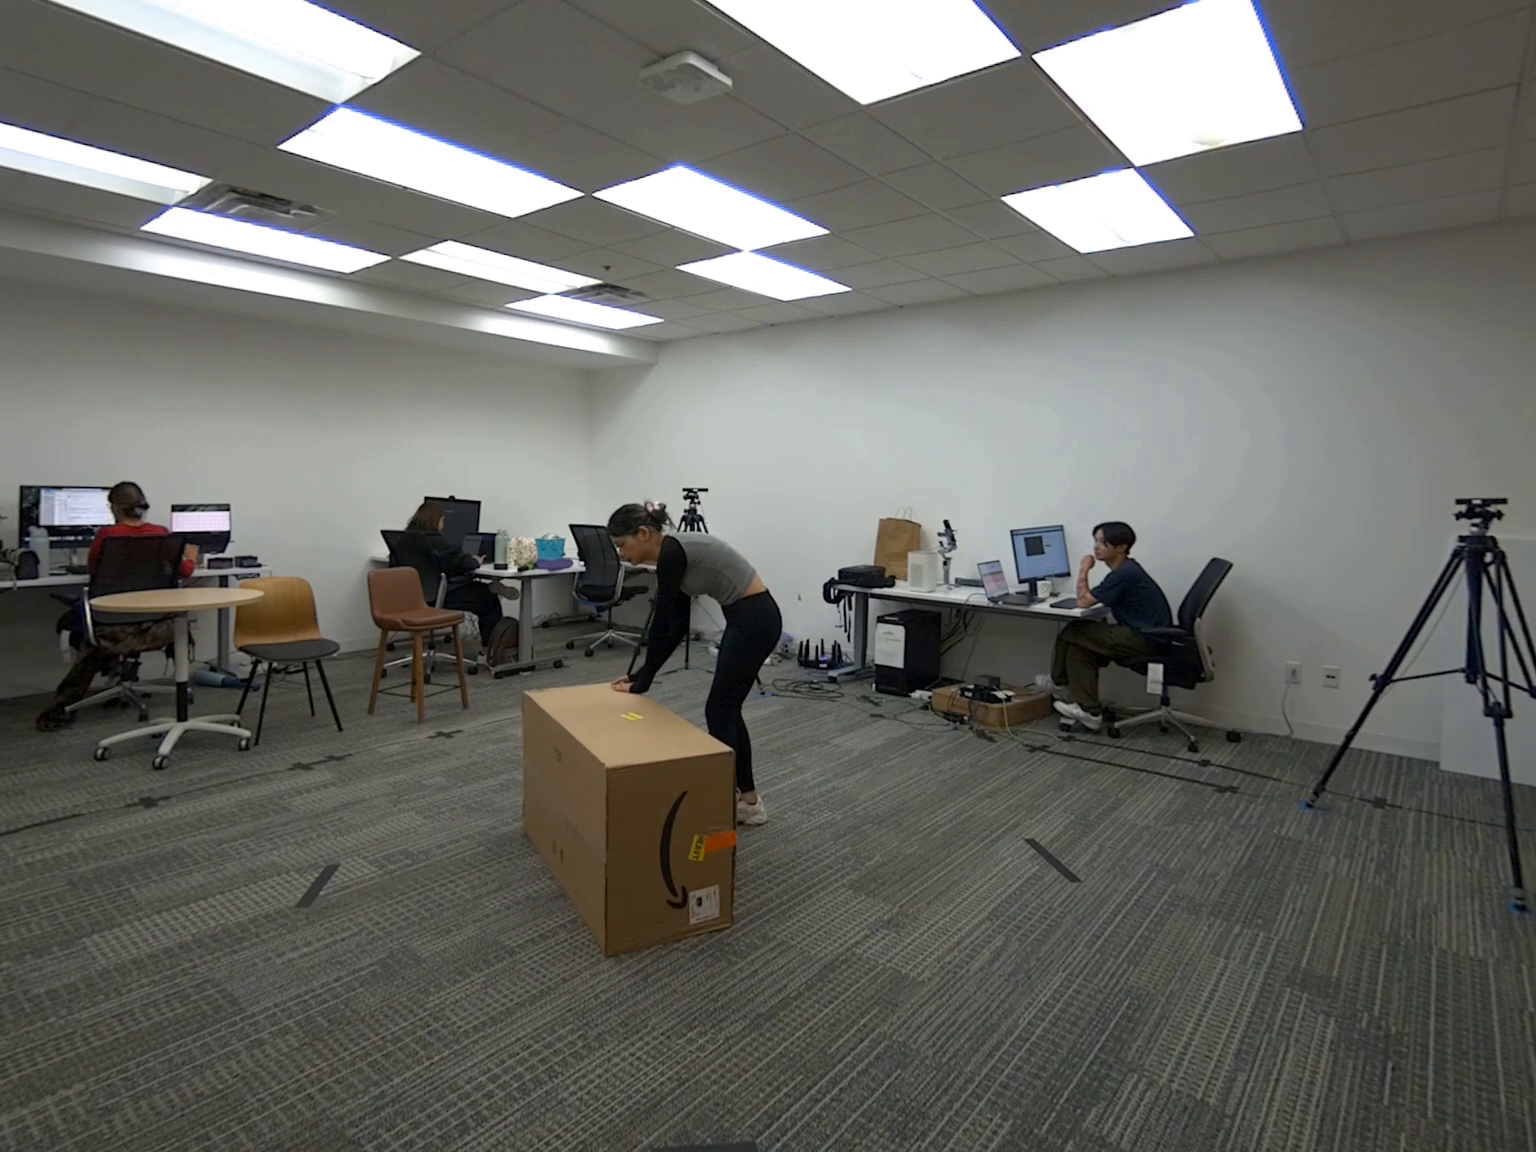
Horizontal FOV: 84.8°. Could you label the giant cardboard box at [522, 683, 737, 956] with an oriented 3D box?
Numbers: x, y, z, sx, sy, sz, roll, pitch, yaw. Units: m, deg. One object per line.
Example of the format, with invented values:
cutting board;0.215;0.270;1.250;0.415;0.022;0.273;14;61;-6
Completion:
giant cardboard box;-0.550;0.782;3.034;0.435;0.582;1.058;0;5;-30
